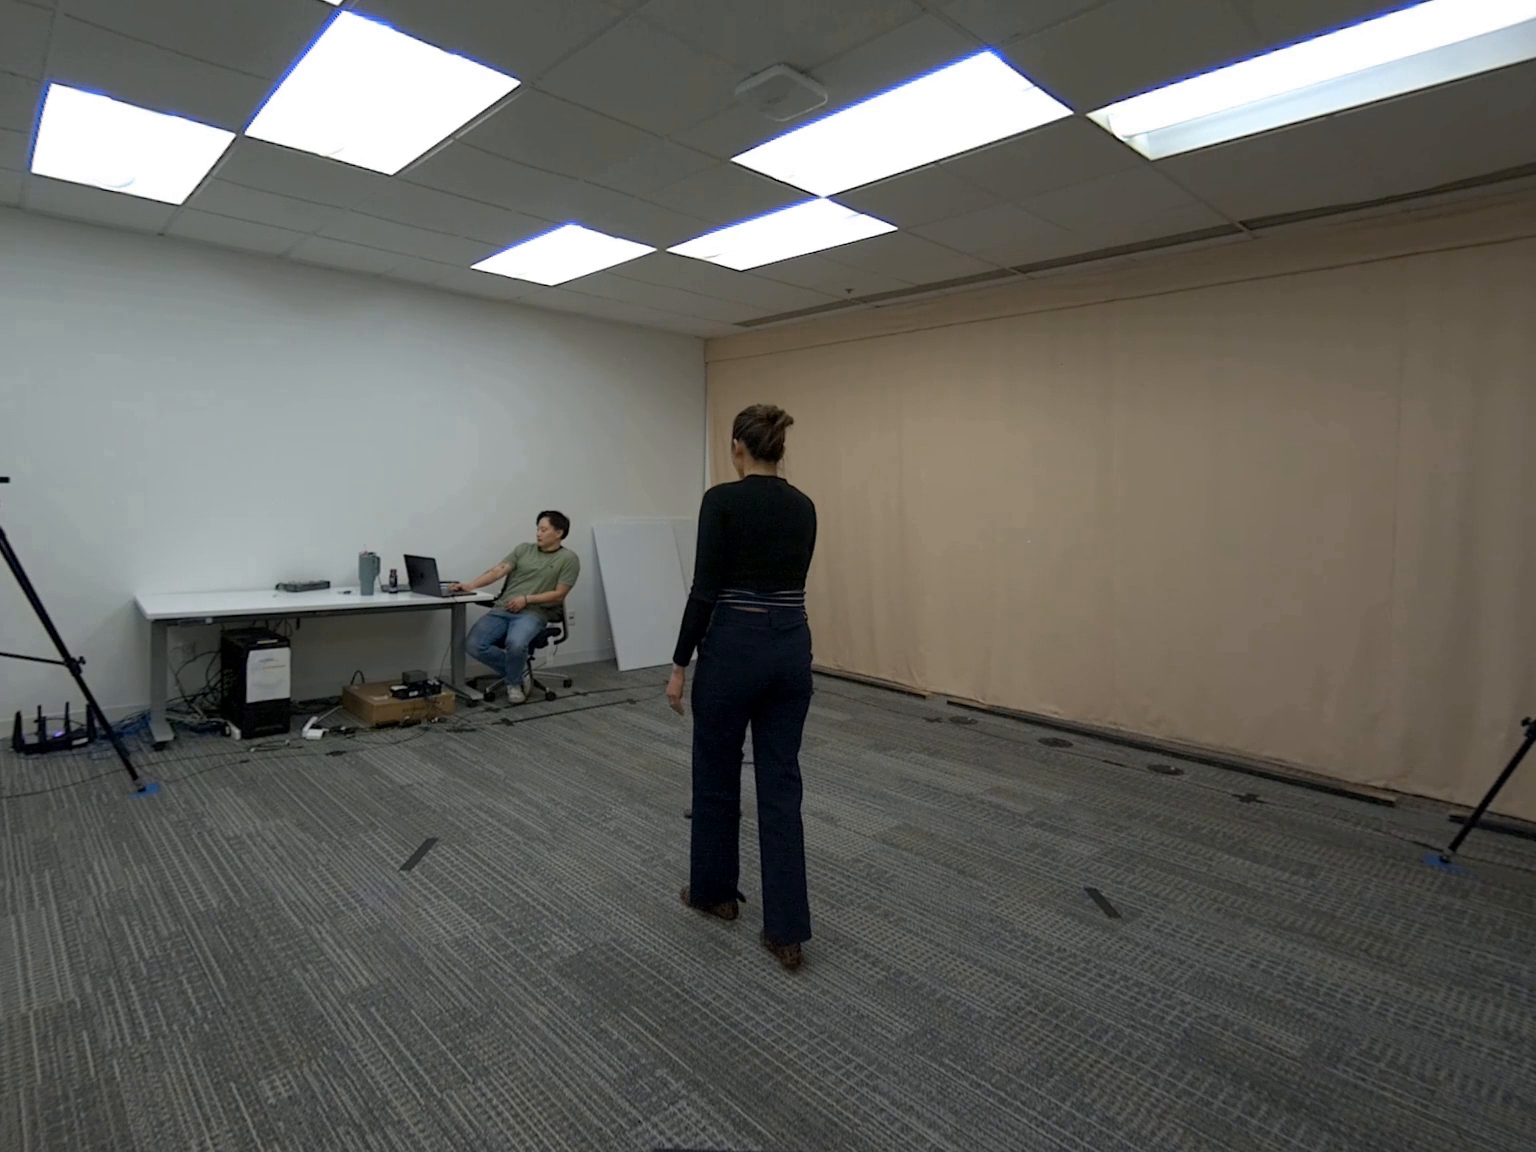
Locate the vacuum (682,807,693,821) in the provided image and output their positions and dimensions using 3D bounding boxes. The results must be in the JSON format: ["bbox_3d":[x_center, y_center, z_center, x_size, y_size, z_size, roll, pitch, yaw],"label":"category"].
[{"bbox_3d":[-0.162,0.677,3.295,0.250,1.031,0.148,0,44,-11],"label":"vacuum"}]
